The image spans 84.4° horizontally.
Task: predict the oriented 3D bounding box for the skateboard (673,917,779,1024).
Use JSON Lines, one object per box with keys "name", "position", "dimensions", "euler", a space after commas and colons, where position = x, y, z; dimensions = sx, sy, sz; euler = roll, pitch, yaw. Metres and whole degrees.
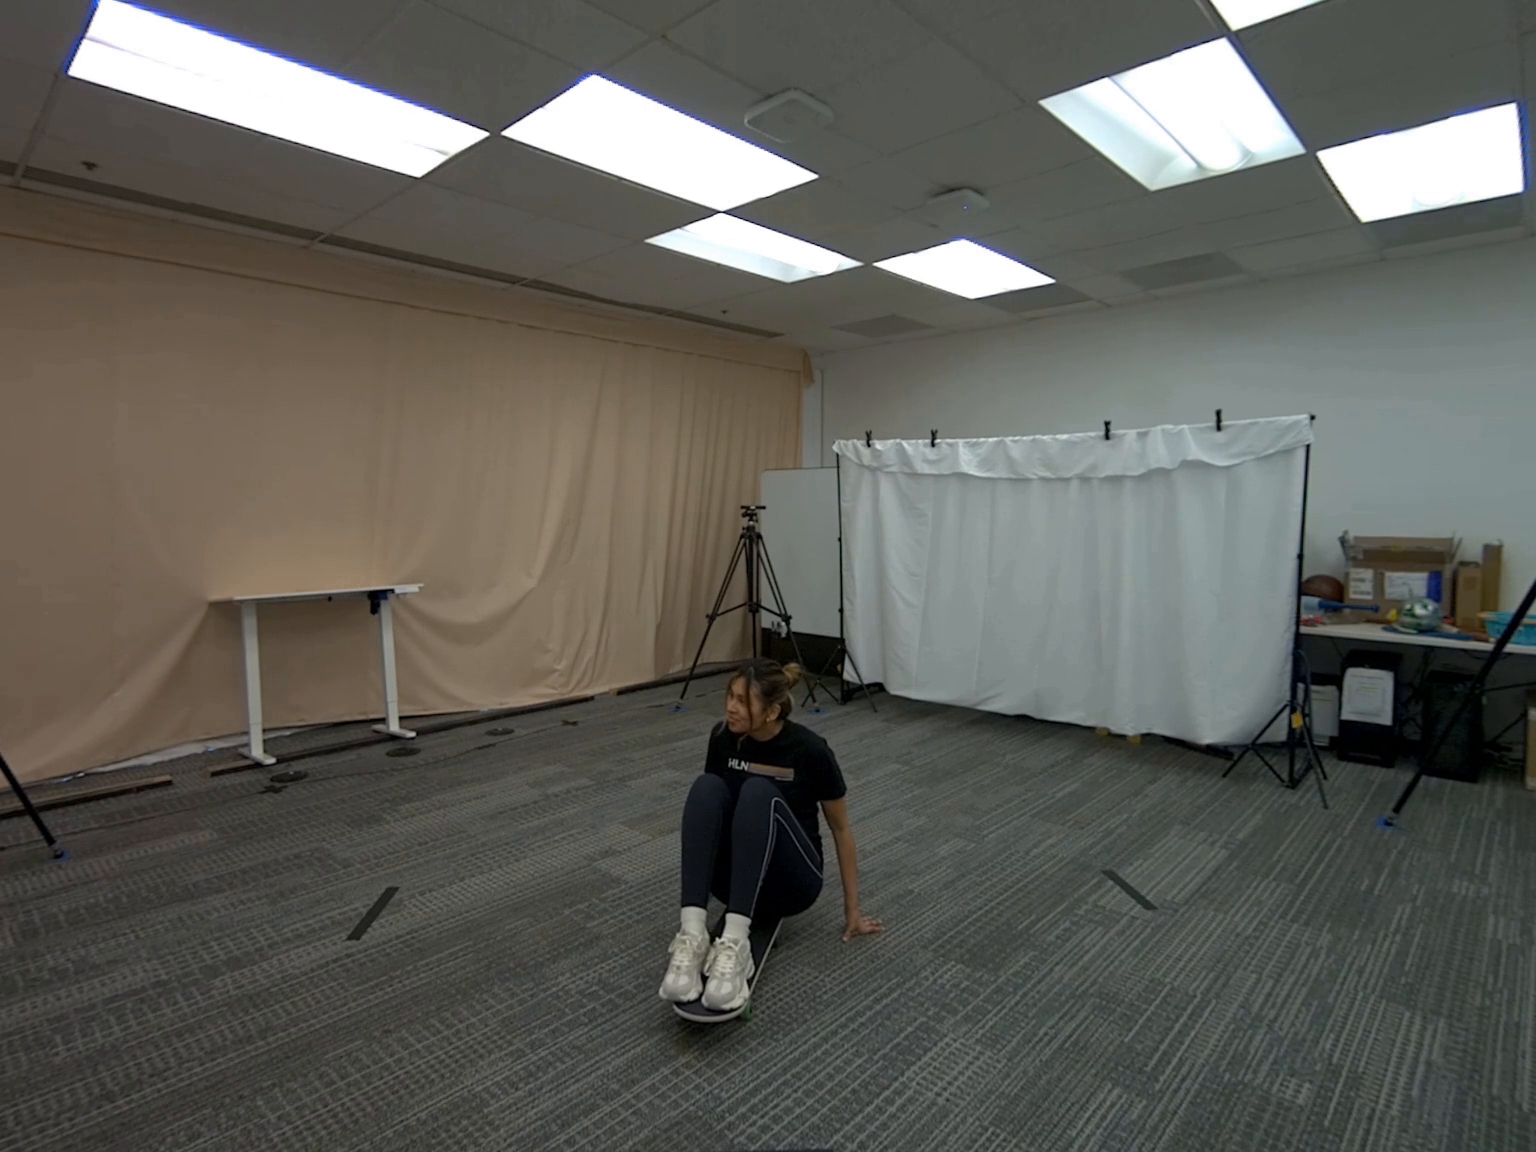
{"name": "skateboard", "position": [-0.091, 1.129, 2.510], "dimensions": [0.196, 0.110, 0.775], "euler": [-1, 4, 13]}
